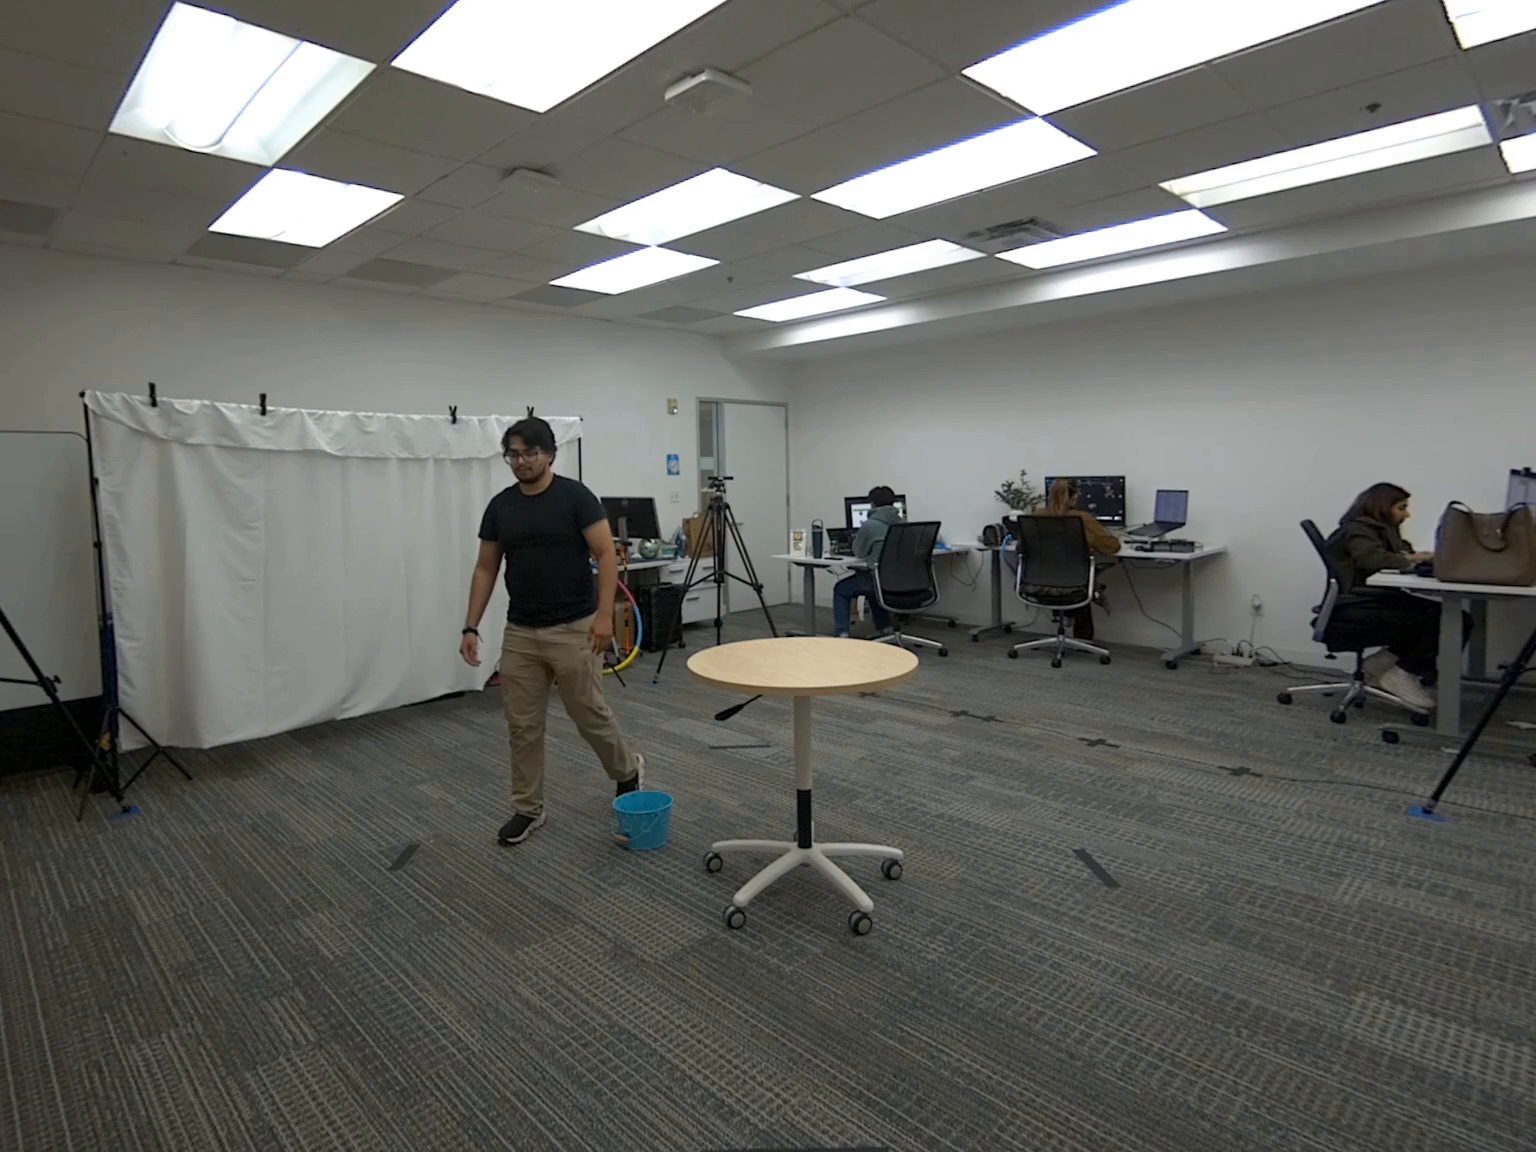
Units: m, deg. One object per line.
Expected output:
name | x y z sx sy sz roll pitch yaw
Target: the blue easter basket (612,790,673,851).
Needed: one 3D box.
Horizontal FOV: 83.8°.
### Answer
blue easter basket | -0.483 0.942 3.305 0.243 0.155 0.245 -1 5 -2
